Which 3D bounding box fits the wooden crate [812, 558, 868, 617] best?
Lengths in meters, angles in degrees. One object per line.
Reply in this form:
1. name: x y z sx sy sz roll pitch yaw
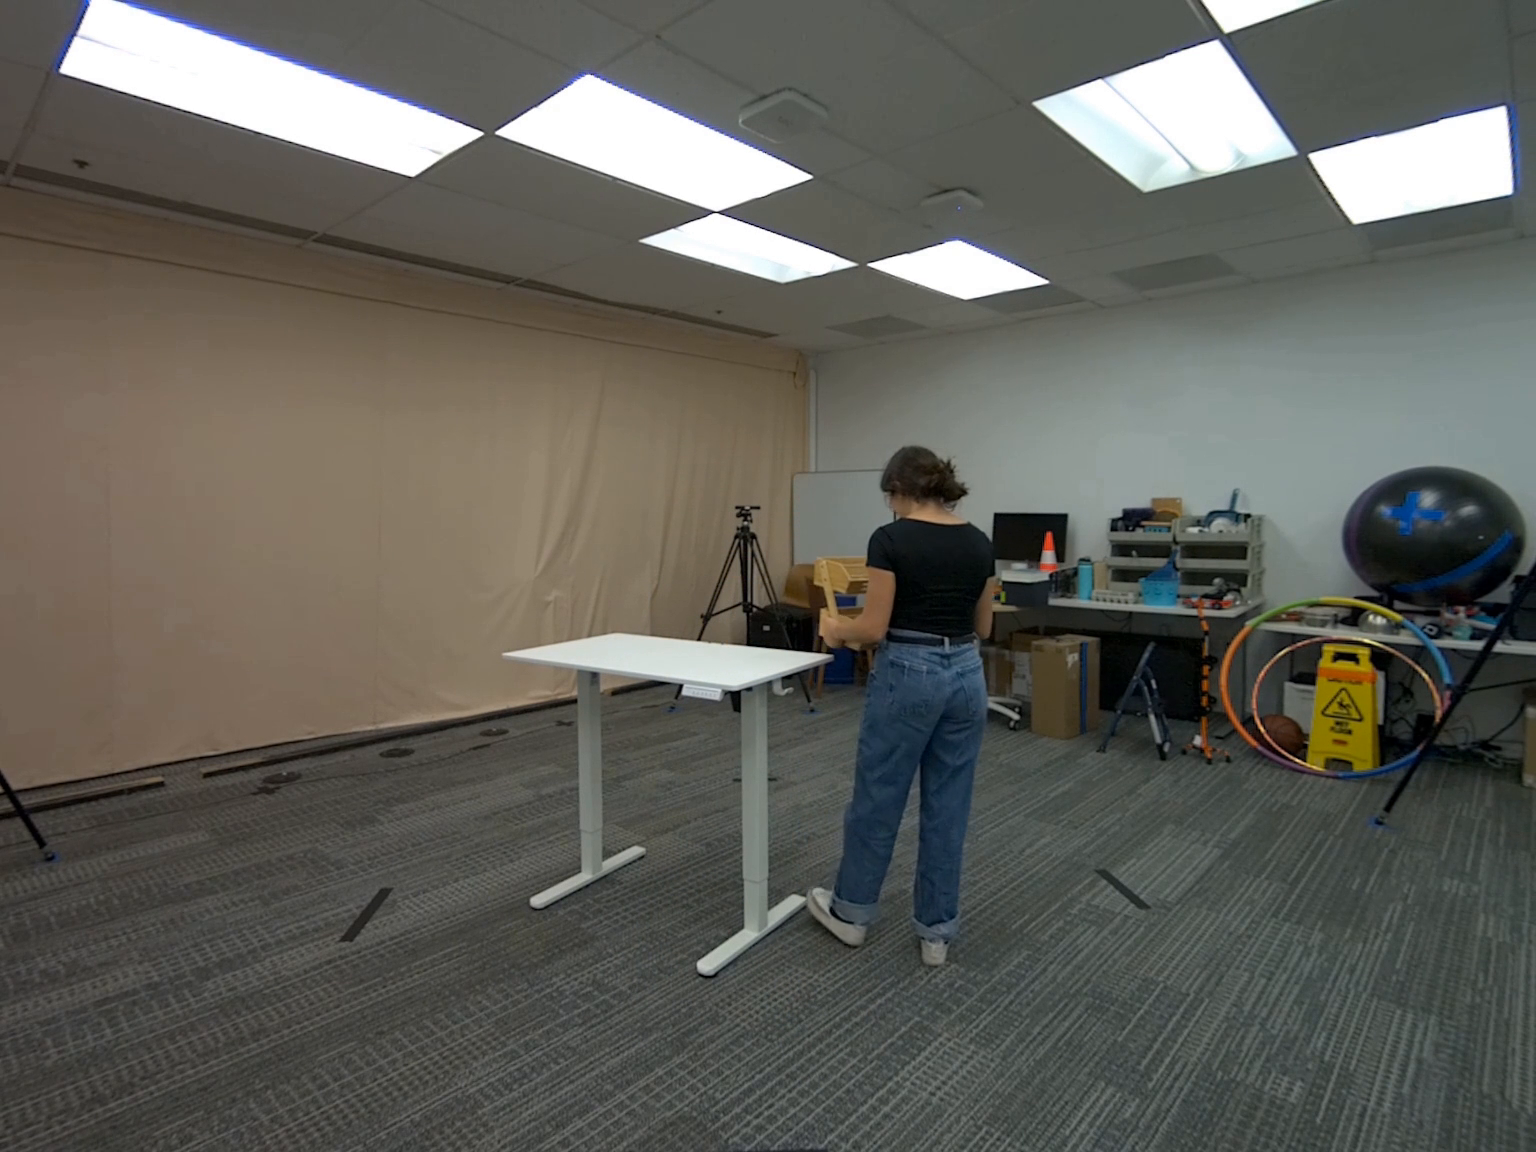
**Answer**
1. wooden crate: 0.365 0.081 2.838 0.316 0.272 0.311 -1 8 -28
